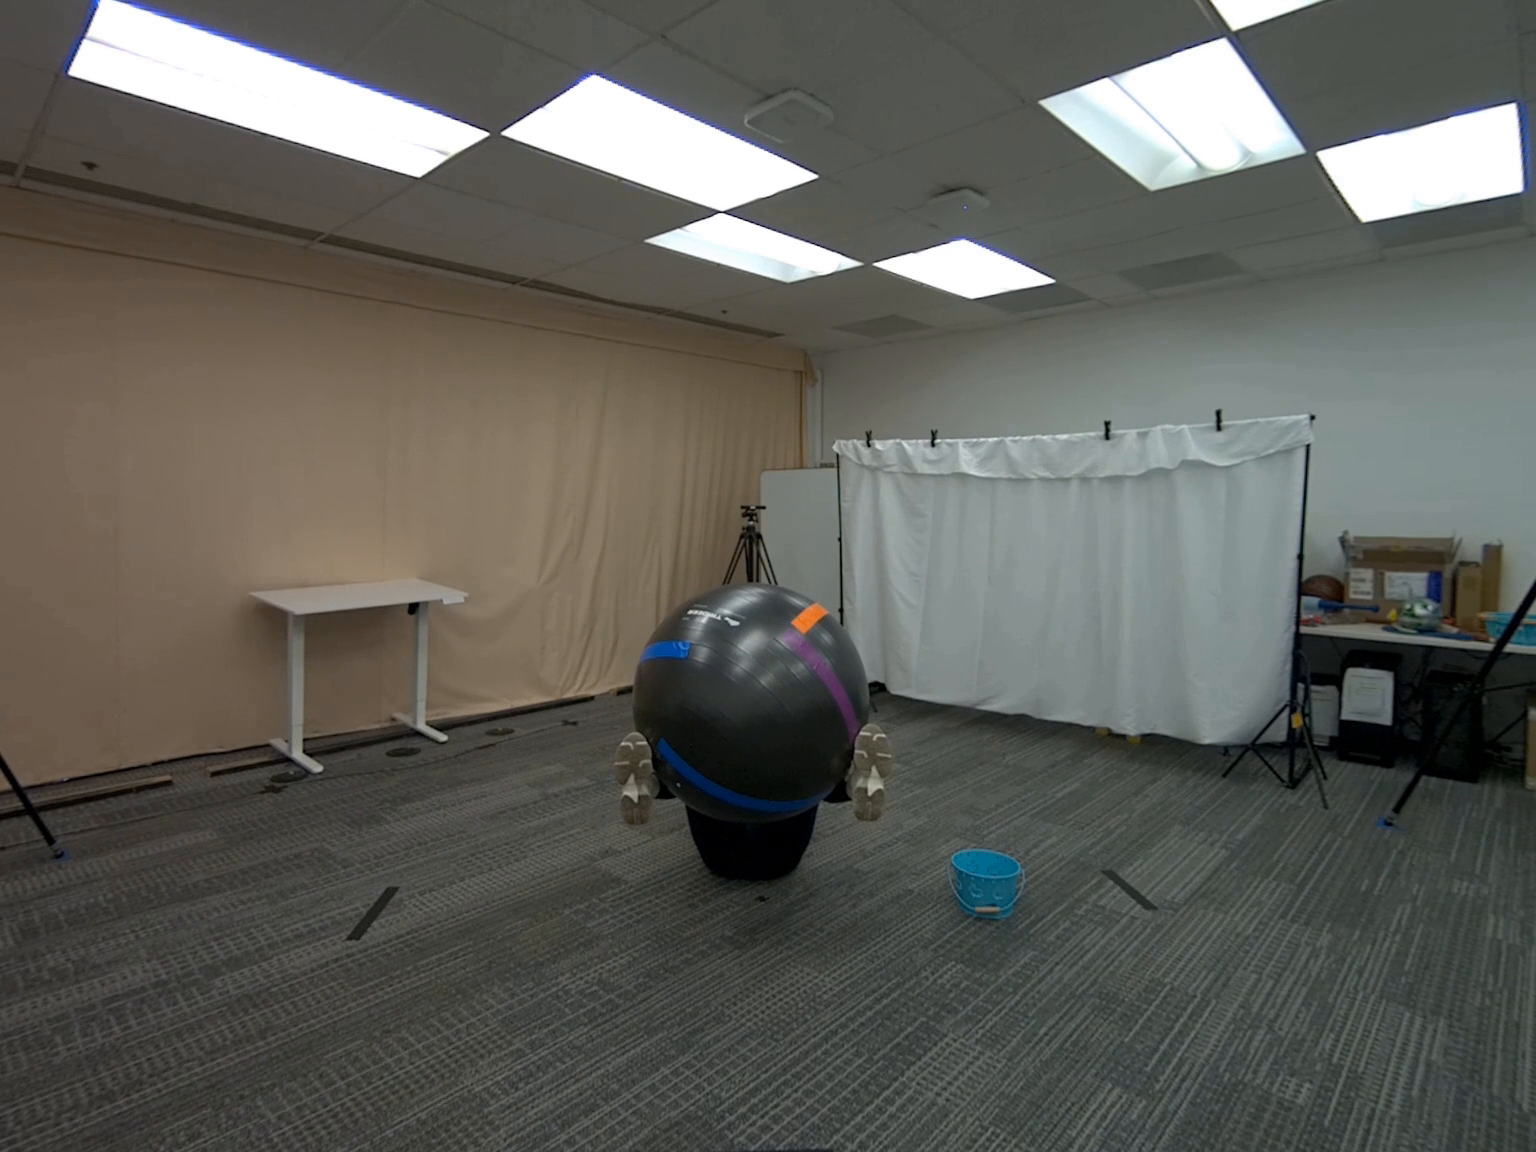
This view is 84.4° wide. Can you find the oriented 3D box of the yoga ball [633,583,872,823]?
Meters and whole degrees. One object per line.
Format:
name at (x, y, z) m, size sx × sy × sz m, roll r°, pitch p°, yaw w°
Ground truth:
yoga ball at (-0.060, 0.404, 2.704) m, size 0.757 × 0.756 × 0.760 m, roll 0°, pitch 4°, yaw -2°
